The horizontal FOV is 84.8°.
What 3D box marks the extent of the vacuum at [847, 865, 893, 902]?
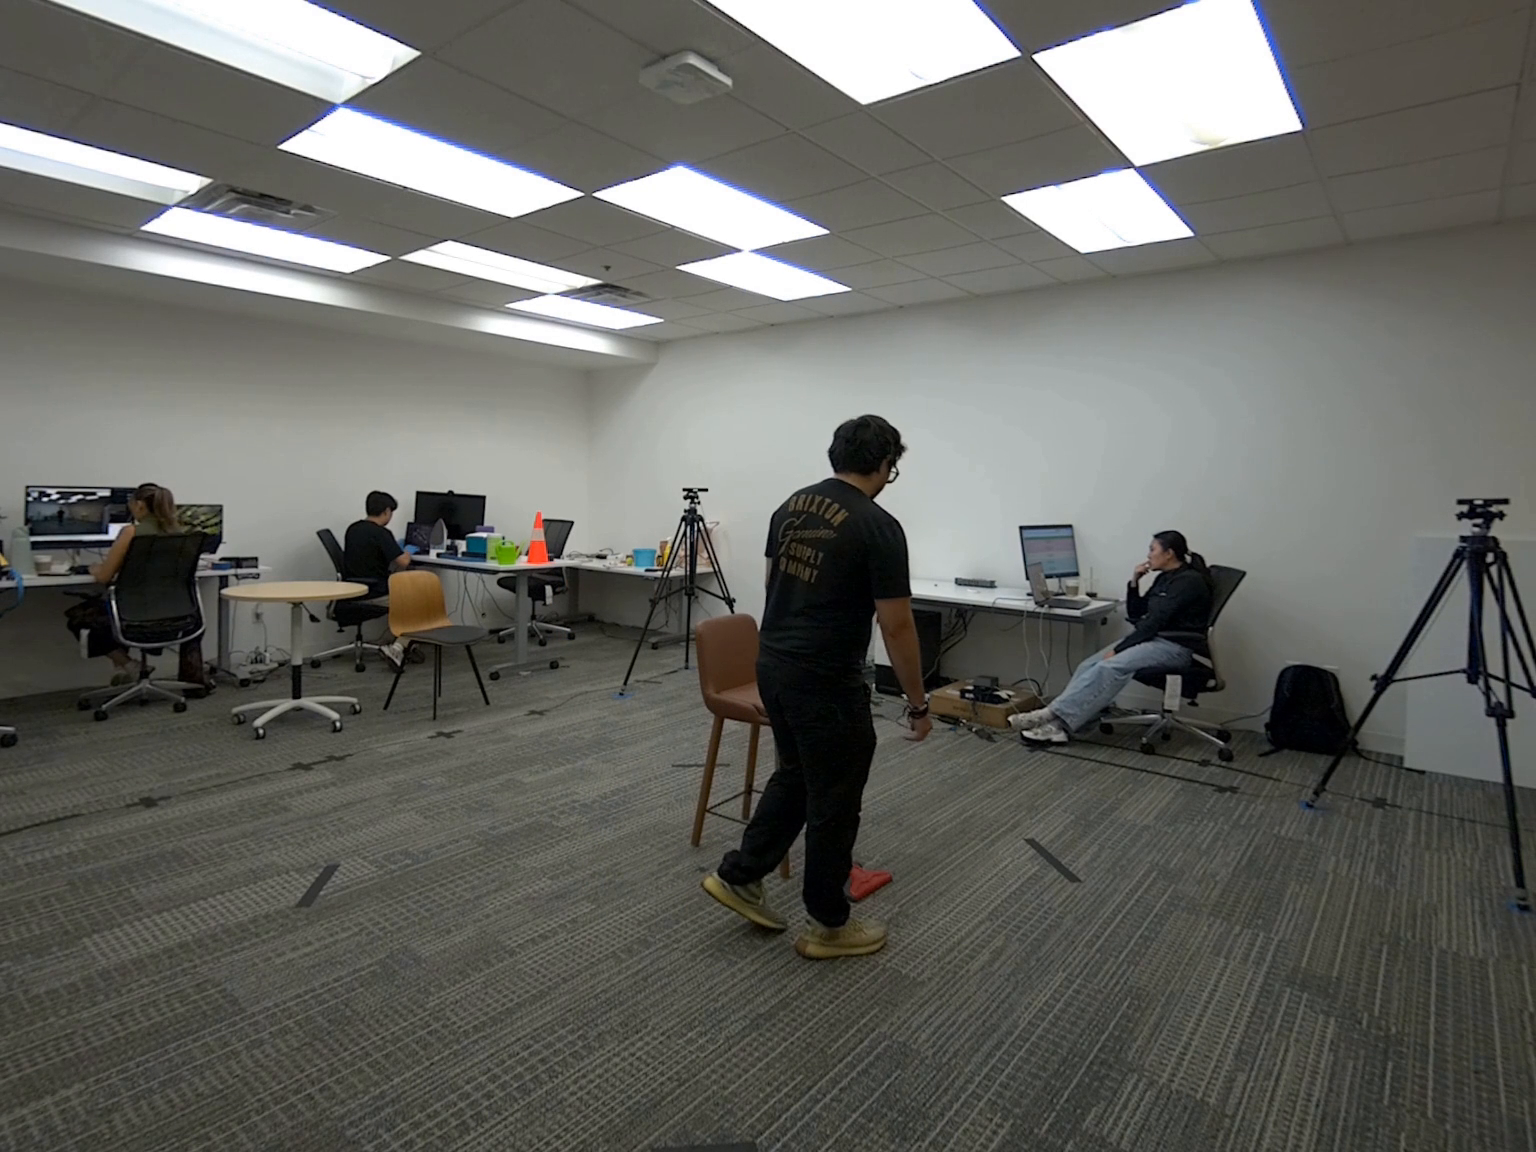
[{"bbox_3d":[0.191,0.585,3.103,0.146,1.063,0.245,-22,-13,36],"label":"vacuum"}]
